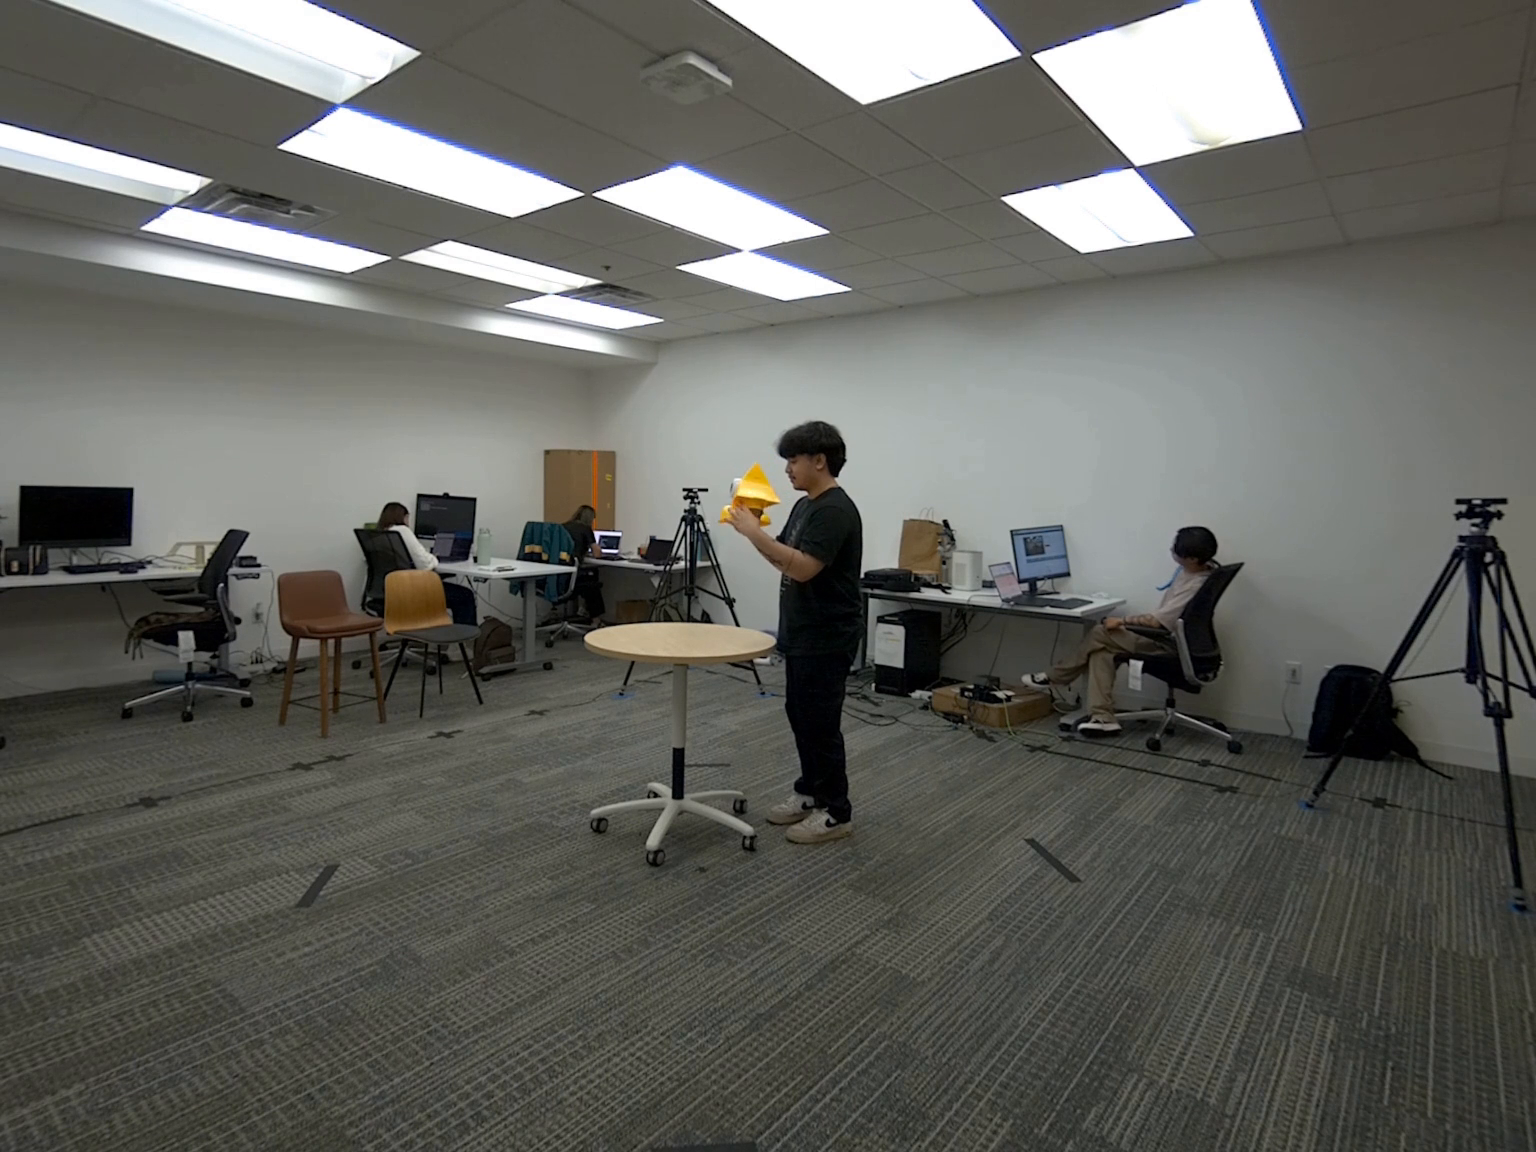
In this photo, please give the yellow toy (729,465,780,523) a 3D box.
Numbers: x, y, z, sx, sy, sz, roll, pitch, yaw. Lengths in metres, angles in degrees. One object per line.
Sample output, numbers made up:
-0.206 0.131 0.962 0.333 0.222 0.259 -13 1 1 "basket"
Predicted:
-0.090 -0.324 3.366 0.198 0.233 0.197 8 -10 -32 "yellow toy"
